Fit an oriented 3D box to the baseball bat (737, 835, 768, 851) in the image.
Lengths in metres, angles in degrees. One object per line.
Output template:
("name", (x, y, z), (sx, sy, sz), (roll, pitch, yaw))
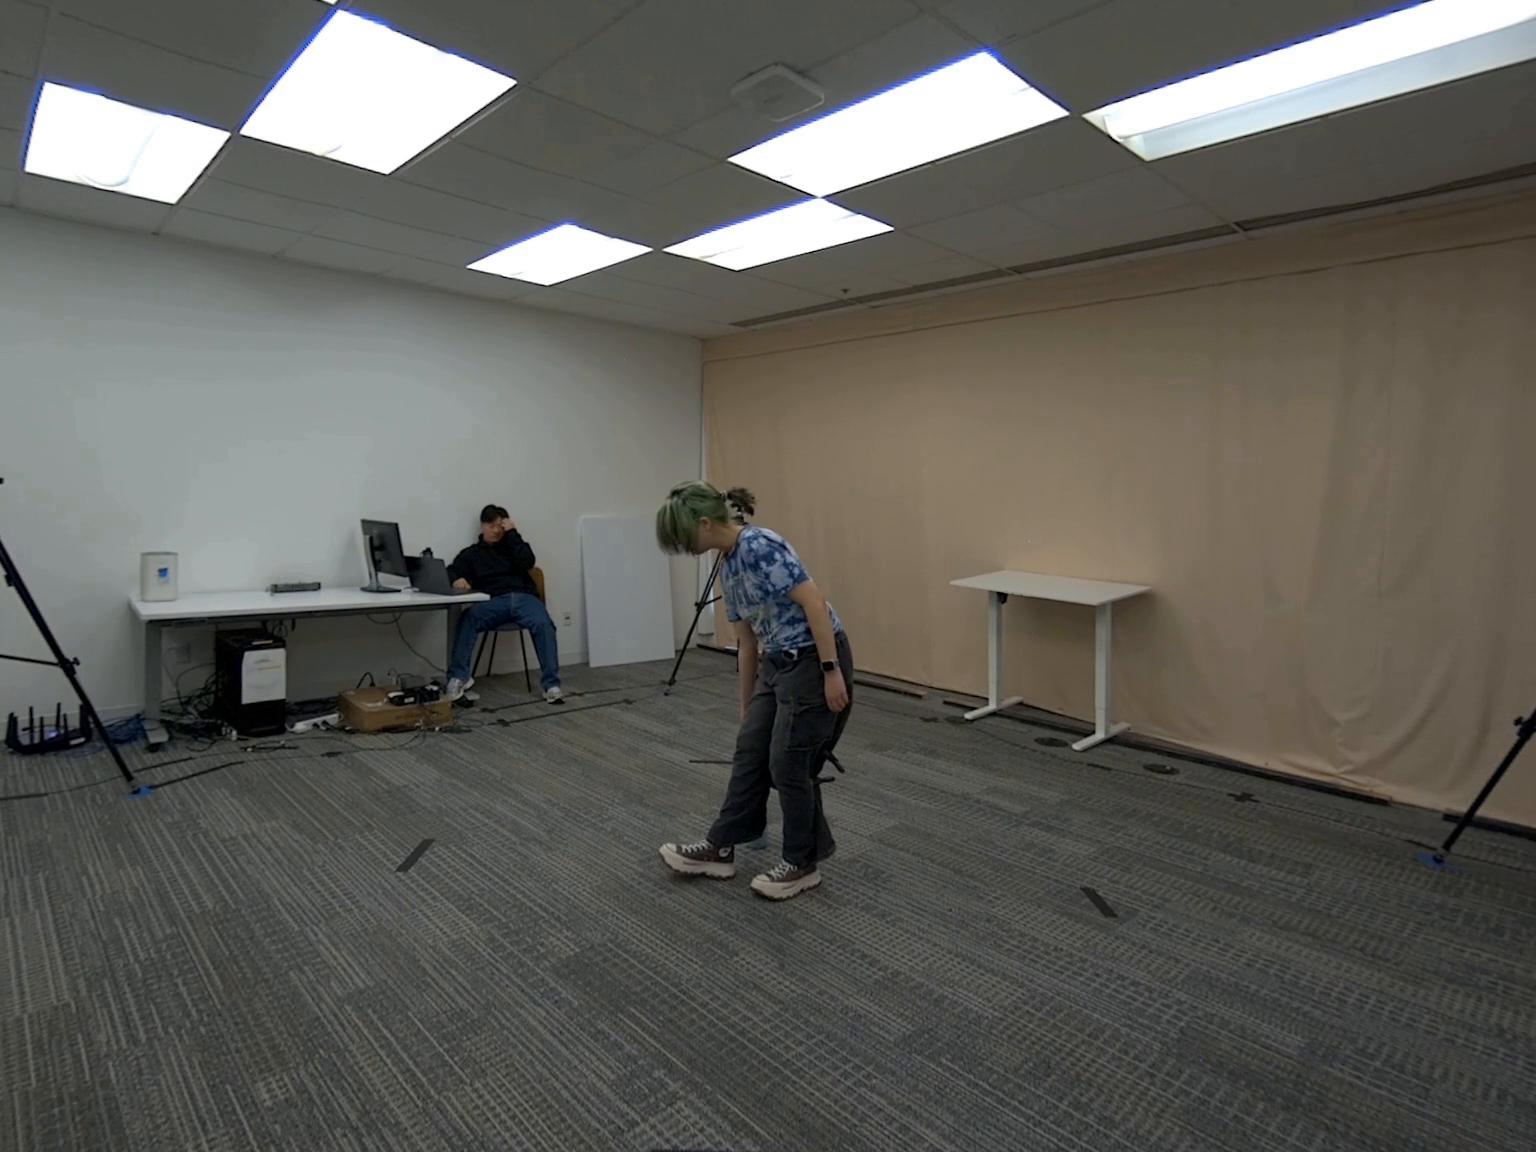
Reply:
("baseball bat", (-0.056, 0.833, 3.299), (0.089, 0.536, 0.090), (-2, 17, -1))
